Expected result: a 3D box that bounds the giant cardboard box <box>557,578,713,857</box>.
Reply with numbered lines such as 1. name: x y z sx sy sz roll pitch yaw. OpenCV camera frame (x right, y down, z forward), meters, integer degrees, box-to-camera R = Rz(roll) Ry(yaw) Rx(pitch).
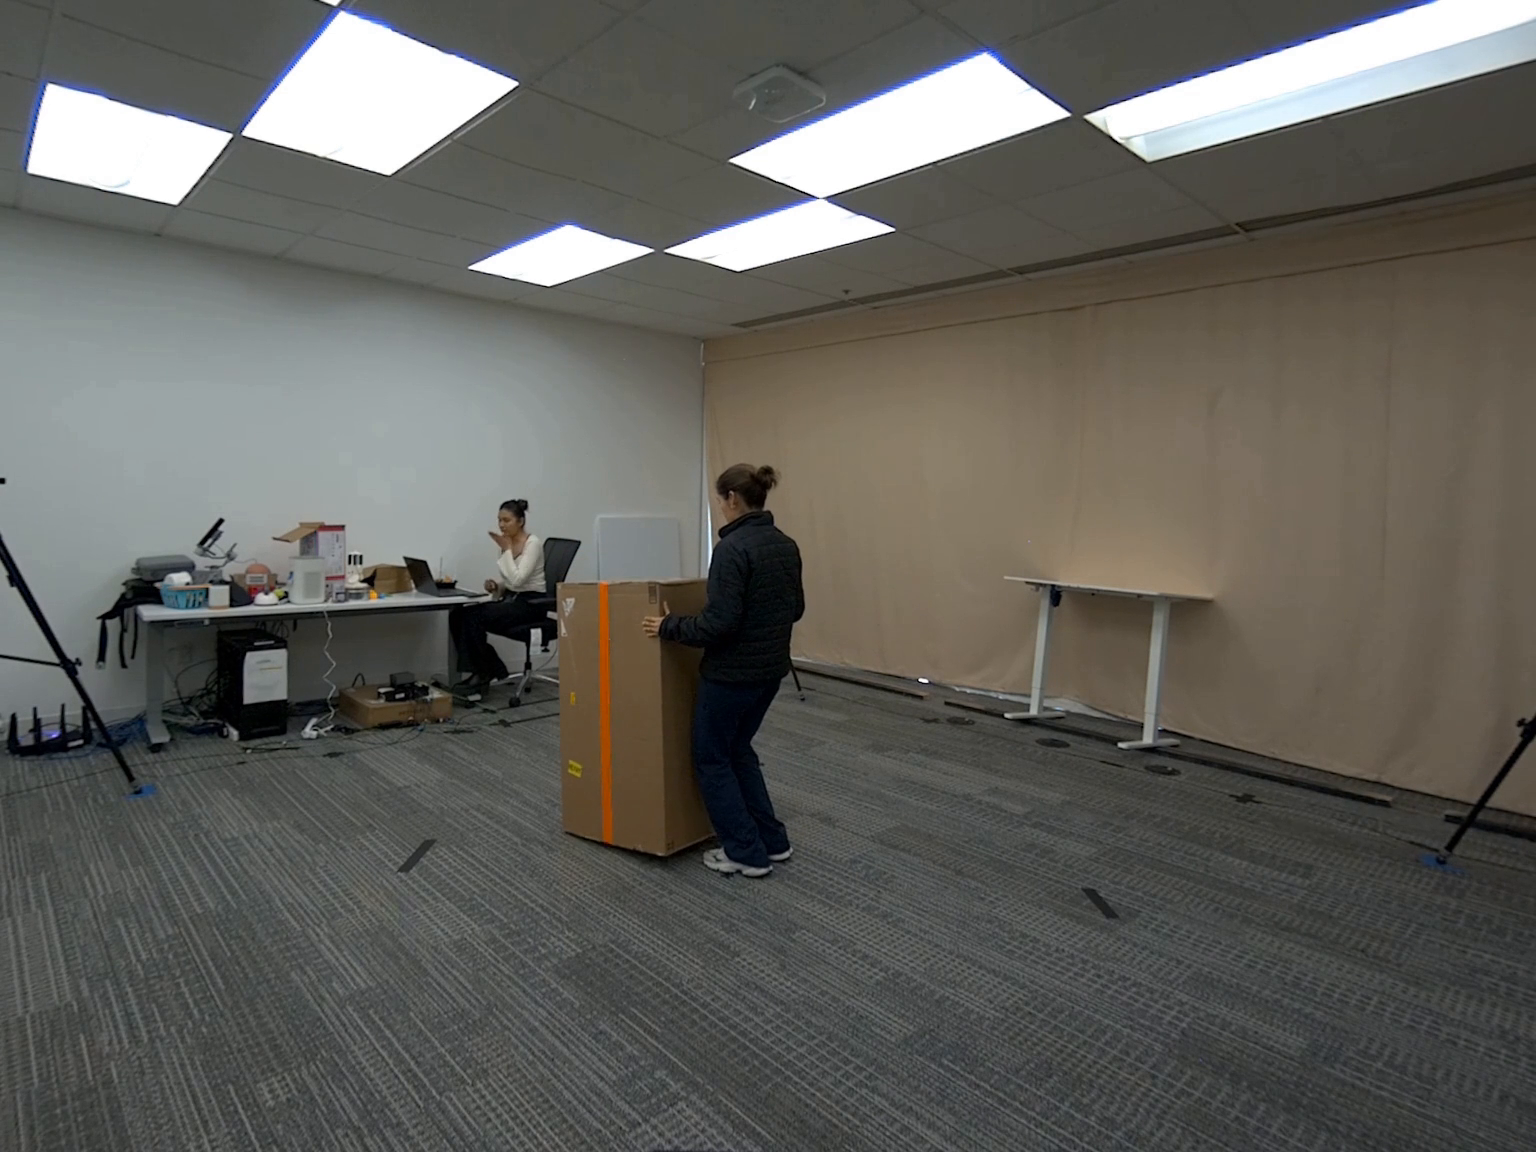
1. giant cardboard box: -0.520 0.536 3.452 0.590 1.027 0.416 -3 -1 38
